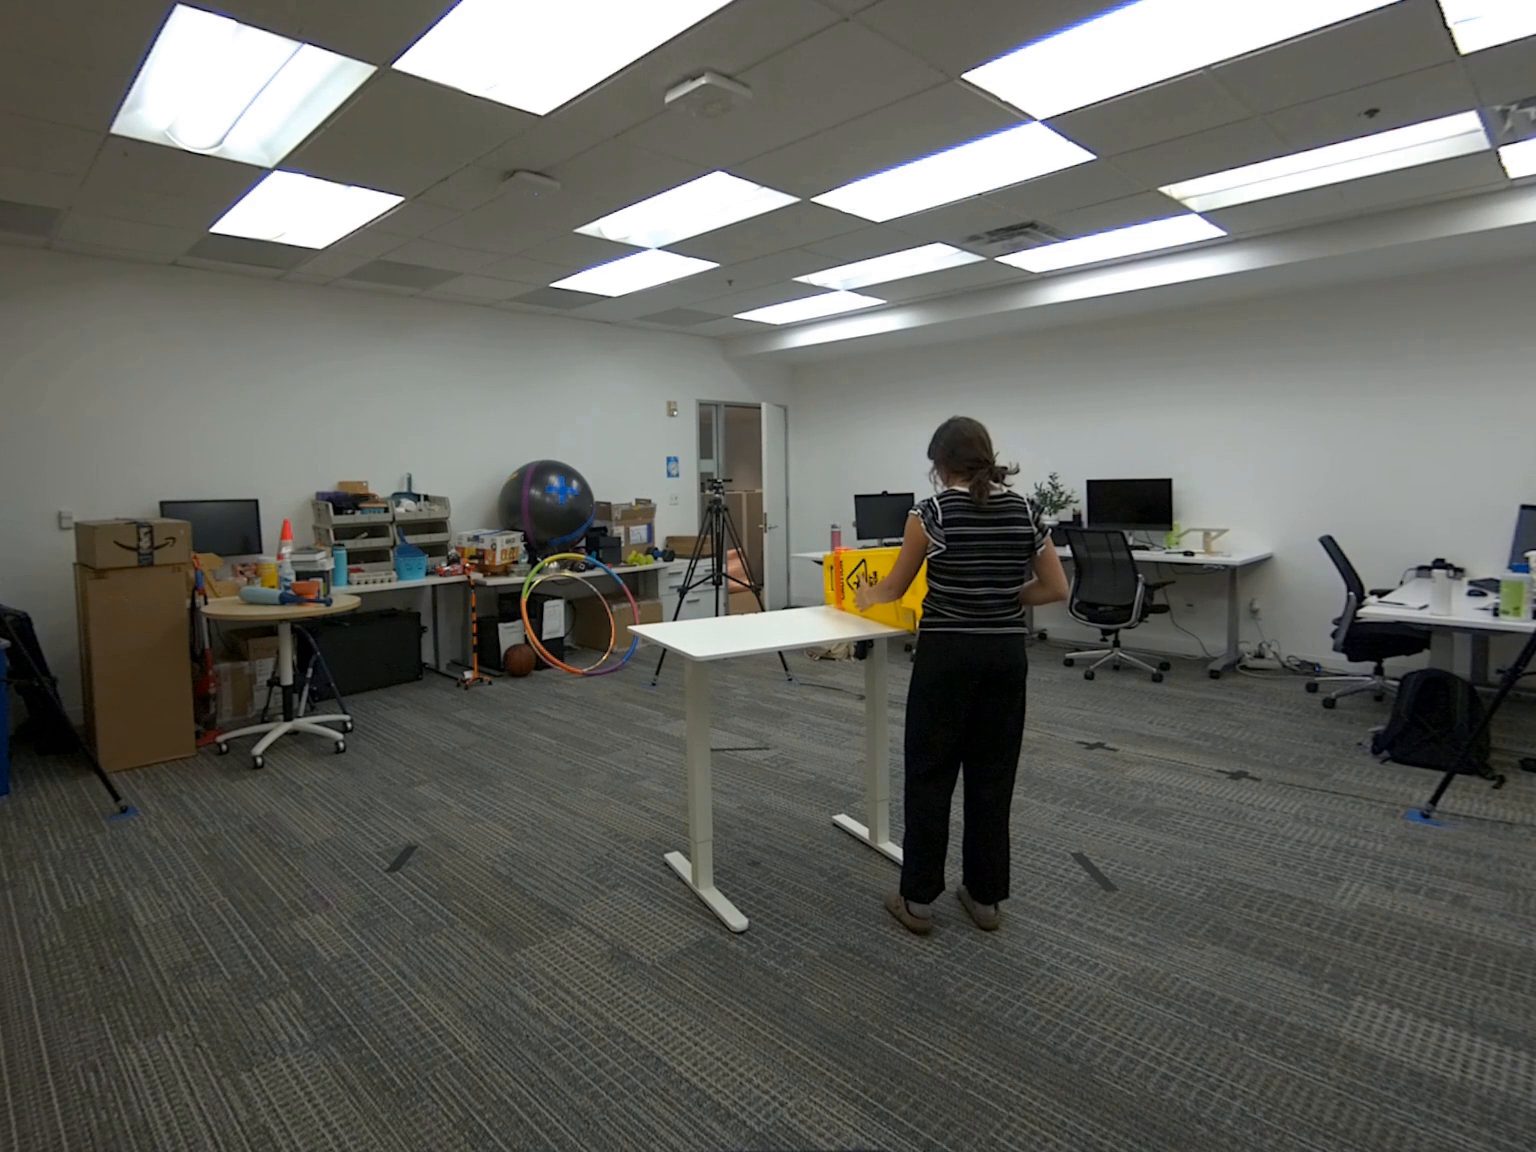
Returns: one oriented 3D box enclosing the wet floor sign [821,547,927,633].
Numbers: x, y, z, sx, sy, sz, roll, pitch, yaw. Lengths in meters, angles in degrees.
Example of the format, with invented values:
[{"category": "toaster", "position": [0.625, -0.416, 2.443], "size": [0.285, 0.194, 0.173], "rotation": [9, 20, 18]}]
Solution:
[{"category": "wet floor sign", "position": [0.397, 0.024, 3.150], "size": [0.283, 0.282, 0.663], "rotation": [-3, 3, -31]}]
